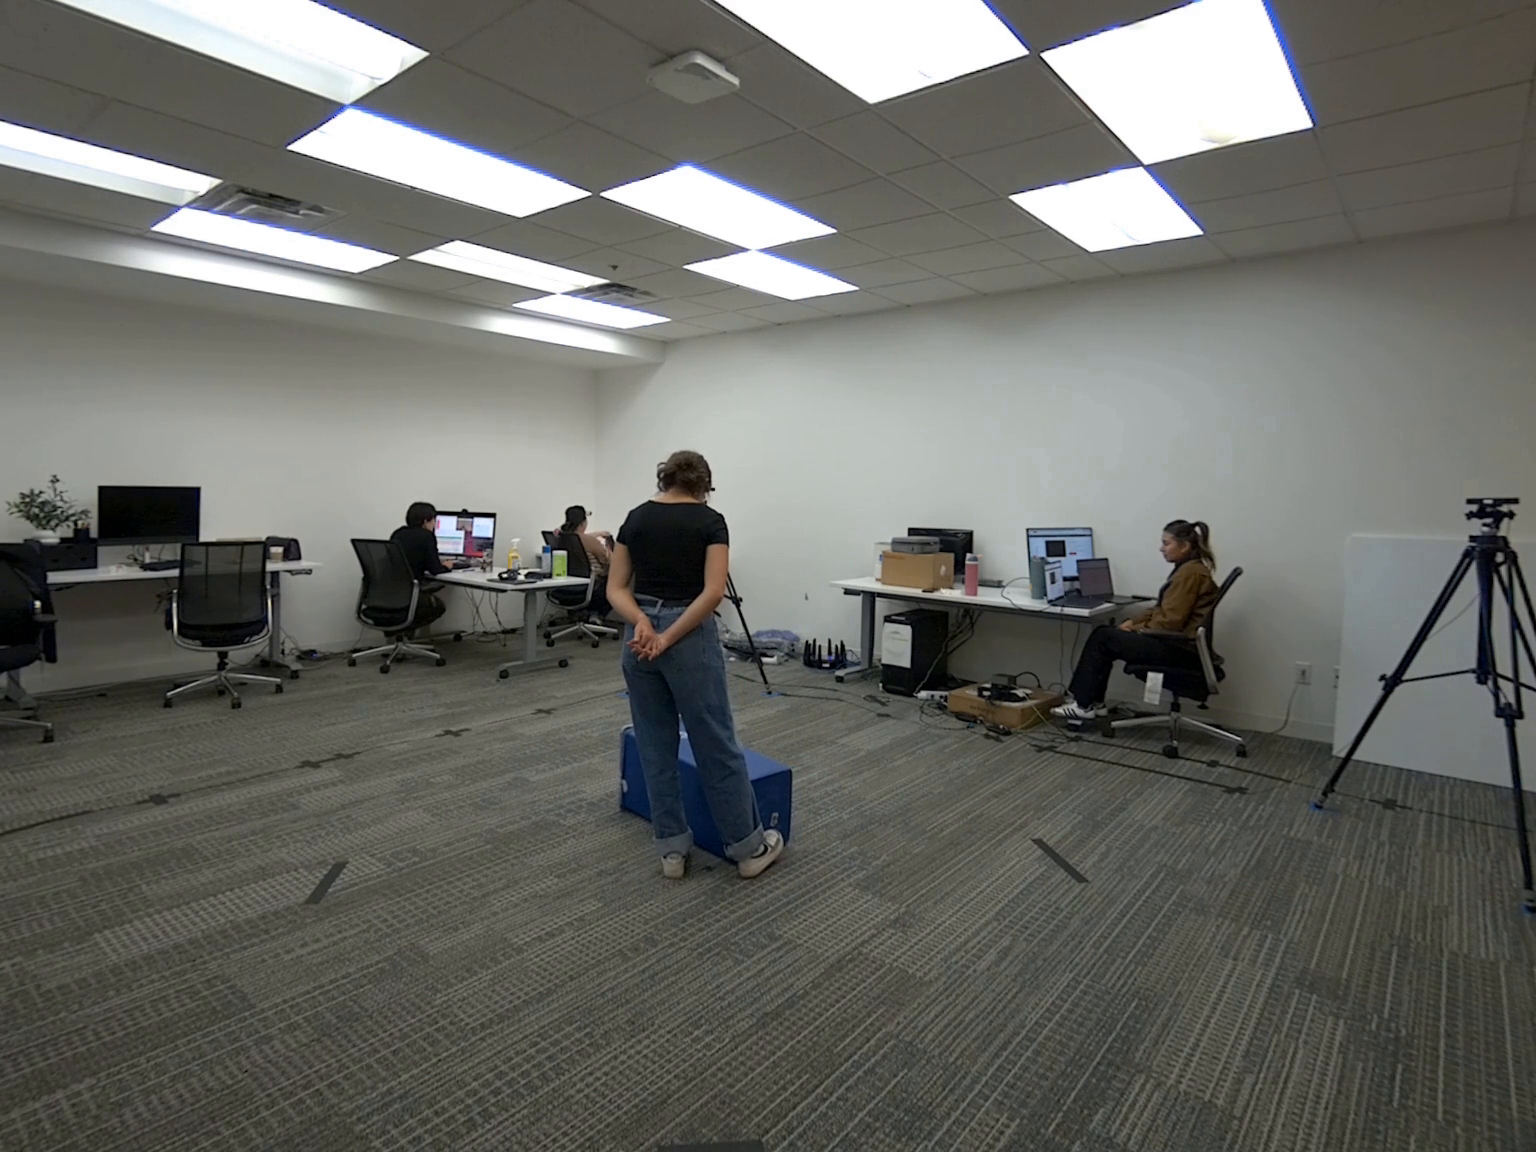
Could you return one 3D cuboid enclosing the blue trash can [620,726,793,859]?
[{"bbox_3d":[-0.274,0.857,3.494,0.363,0.376,0.739,-3,9,-44],"label":"blue trash can"}]
